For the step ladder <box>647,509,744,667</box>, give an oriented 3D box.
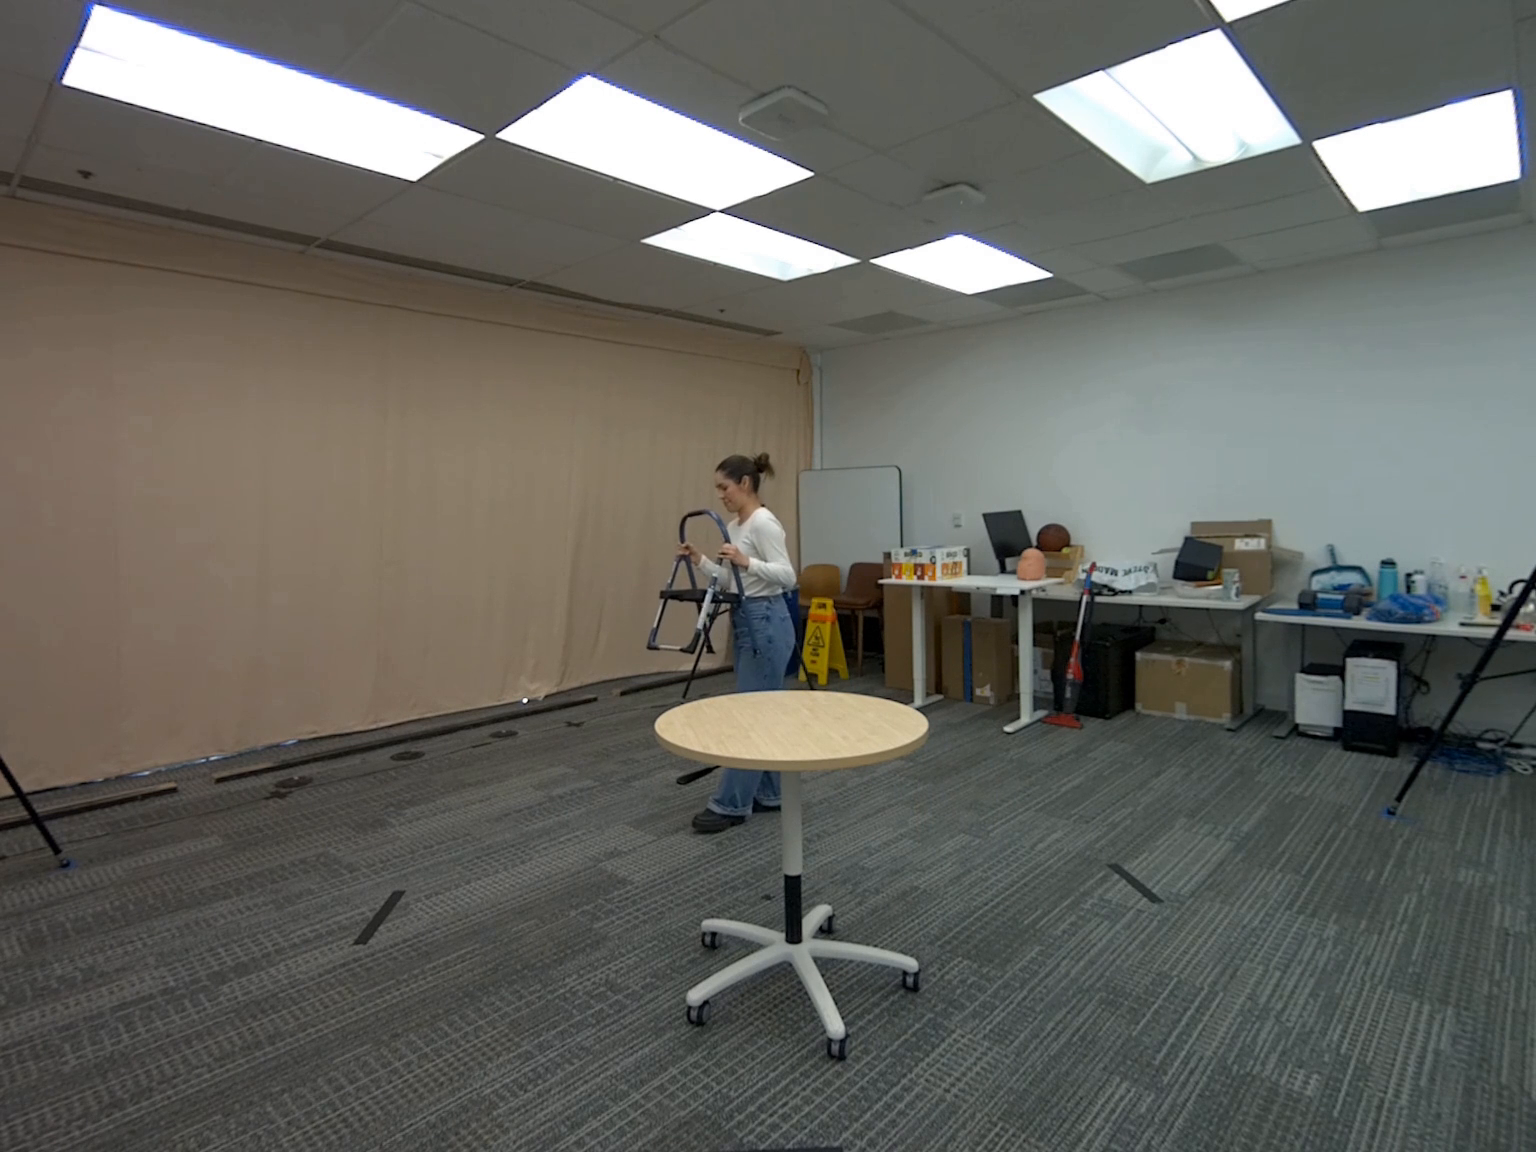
[{"bbox_3d":[-0.257,0.029,3.628,0.339,0.608,0.442,8,-8,-32],"label":"step ladder"}]
